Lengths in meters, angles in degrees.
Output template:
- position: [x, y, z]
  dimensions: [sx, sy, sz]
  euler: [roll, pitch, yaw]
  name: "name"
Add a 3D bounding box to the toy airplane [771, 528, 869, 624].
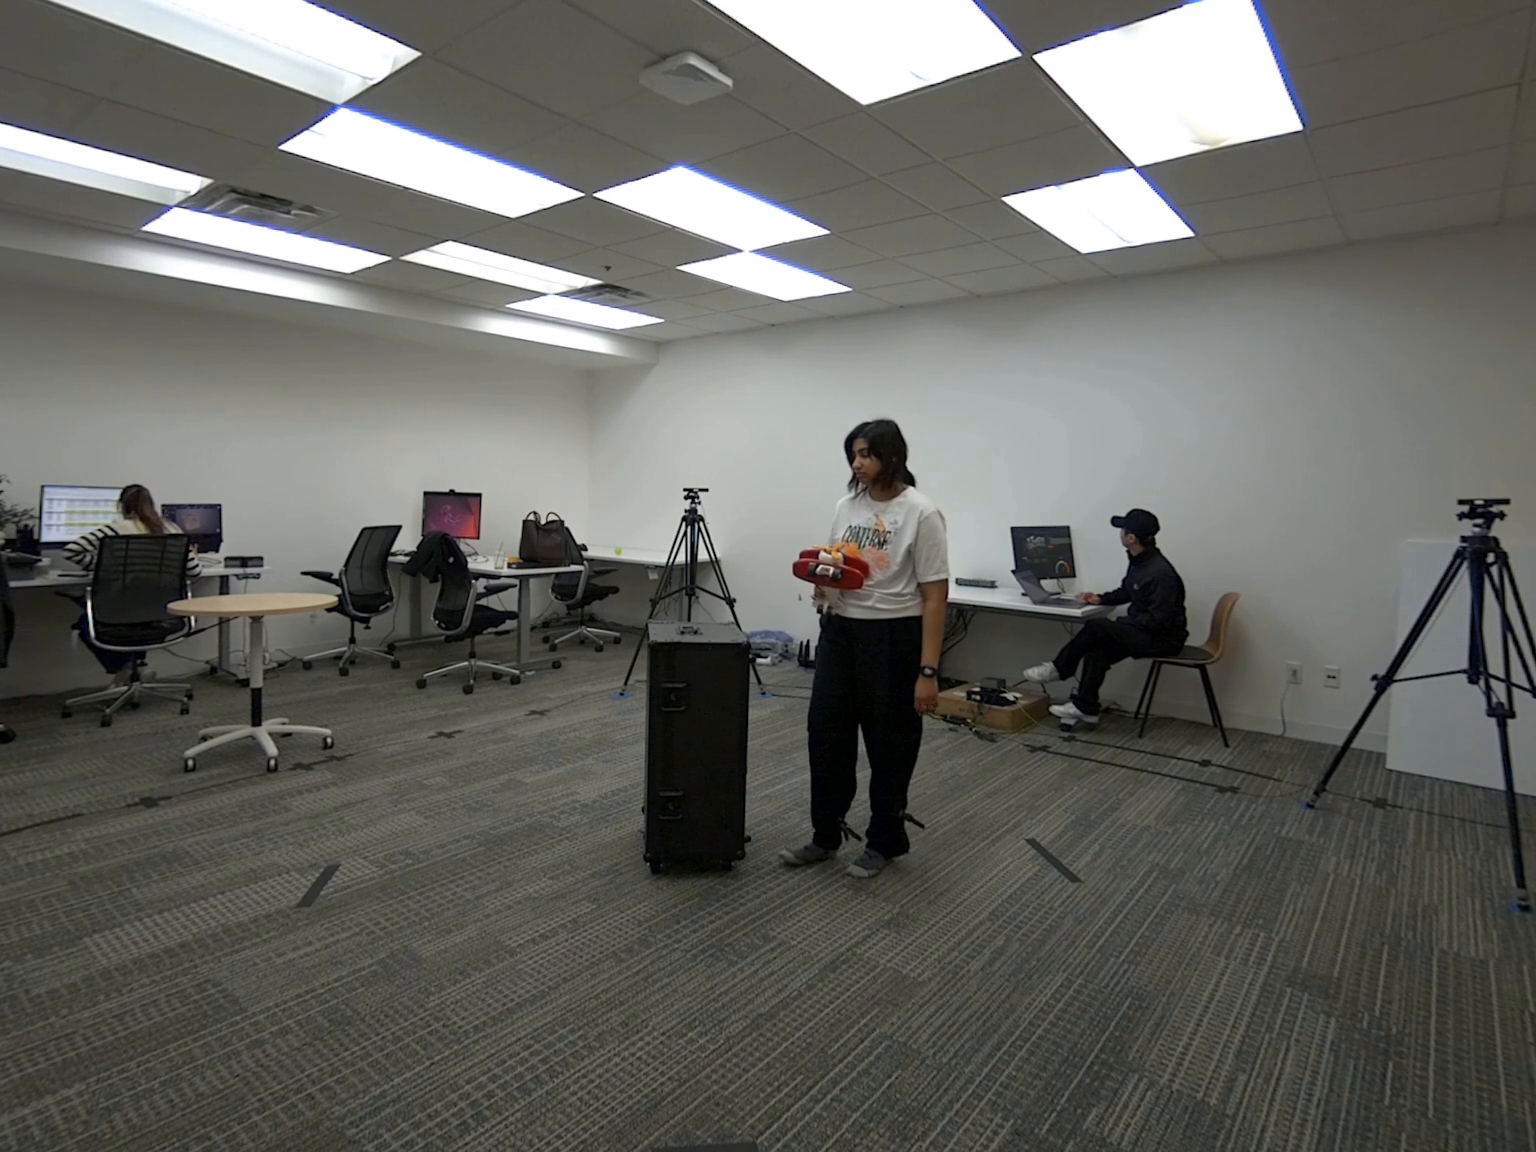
- position: [0.193, 0.014, 2.992]
  dimensions: [0.249, 0.159, 0.257]
  euler: [28, -41, -6]
  name: "toy airplane"
